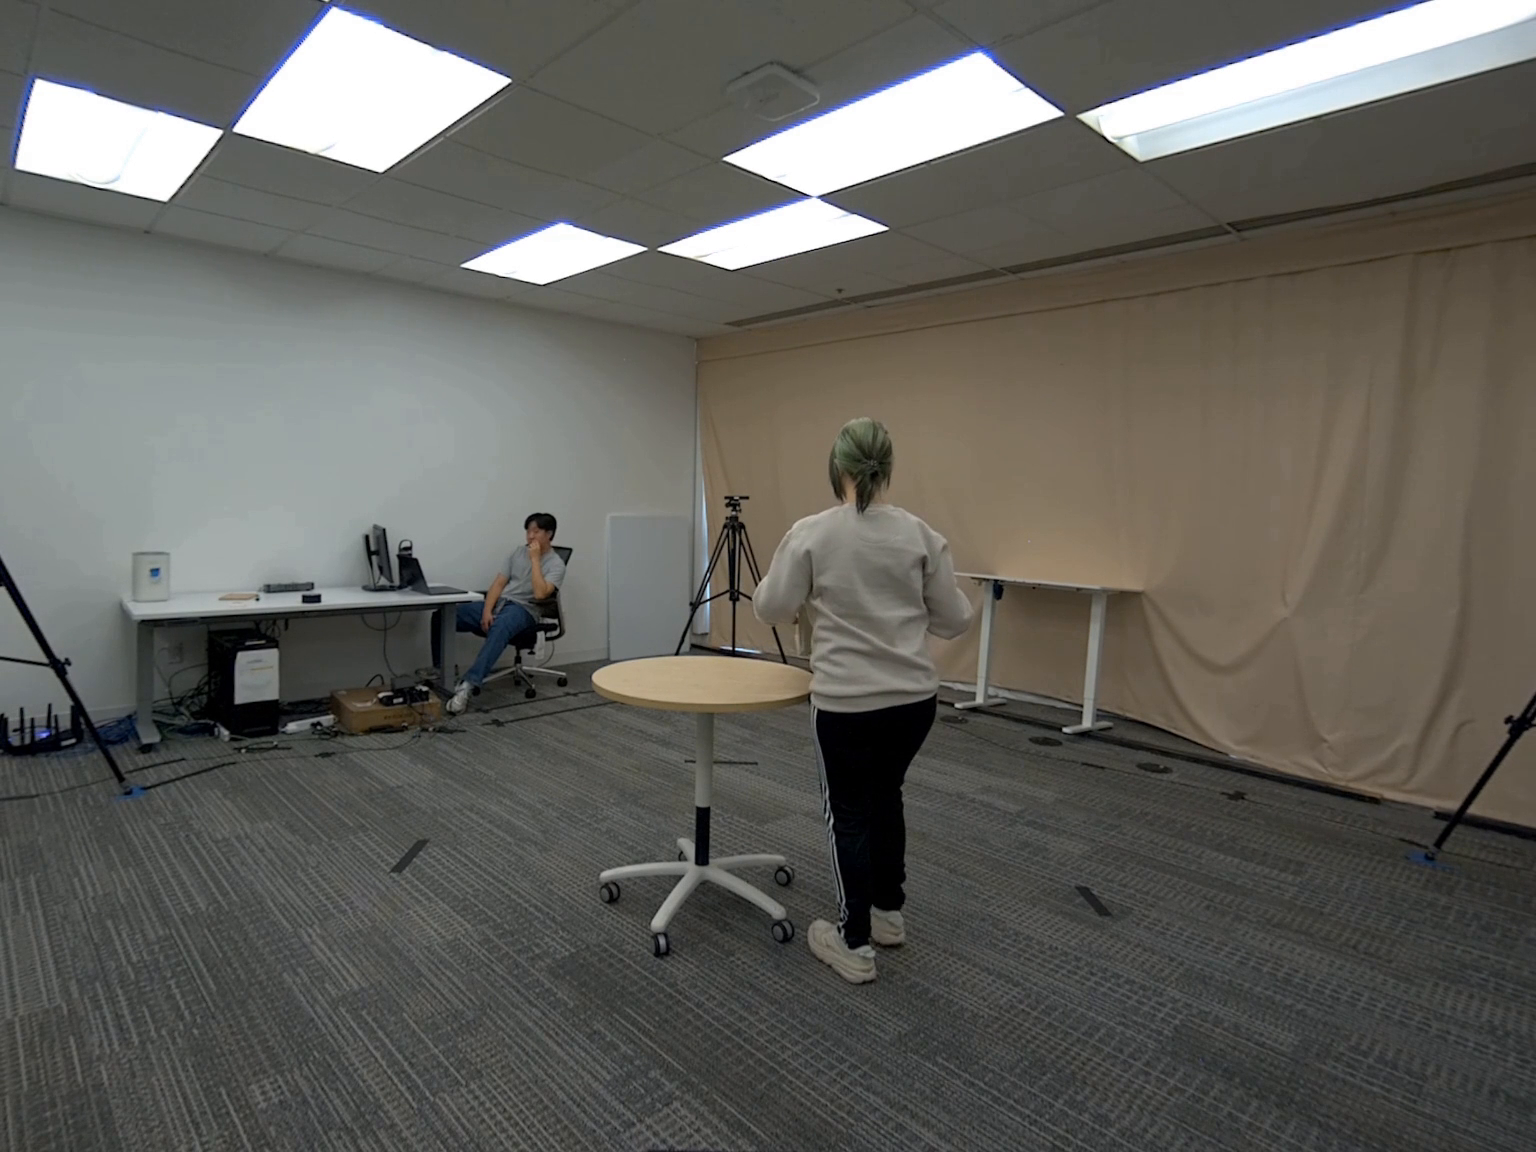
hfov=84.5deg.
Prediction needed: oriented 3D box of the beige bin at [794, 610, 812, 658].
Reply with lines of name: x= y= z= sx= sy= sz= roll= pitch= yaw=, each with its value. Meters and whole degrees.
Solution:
beige bin: x=0.306 y=0.156 z=2.845 sx=0.423 sy=0.188 sz=0.378 roll=2 pitch=7 yaw=2
